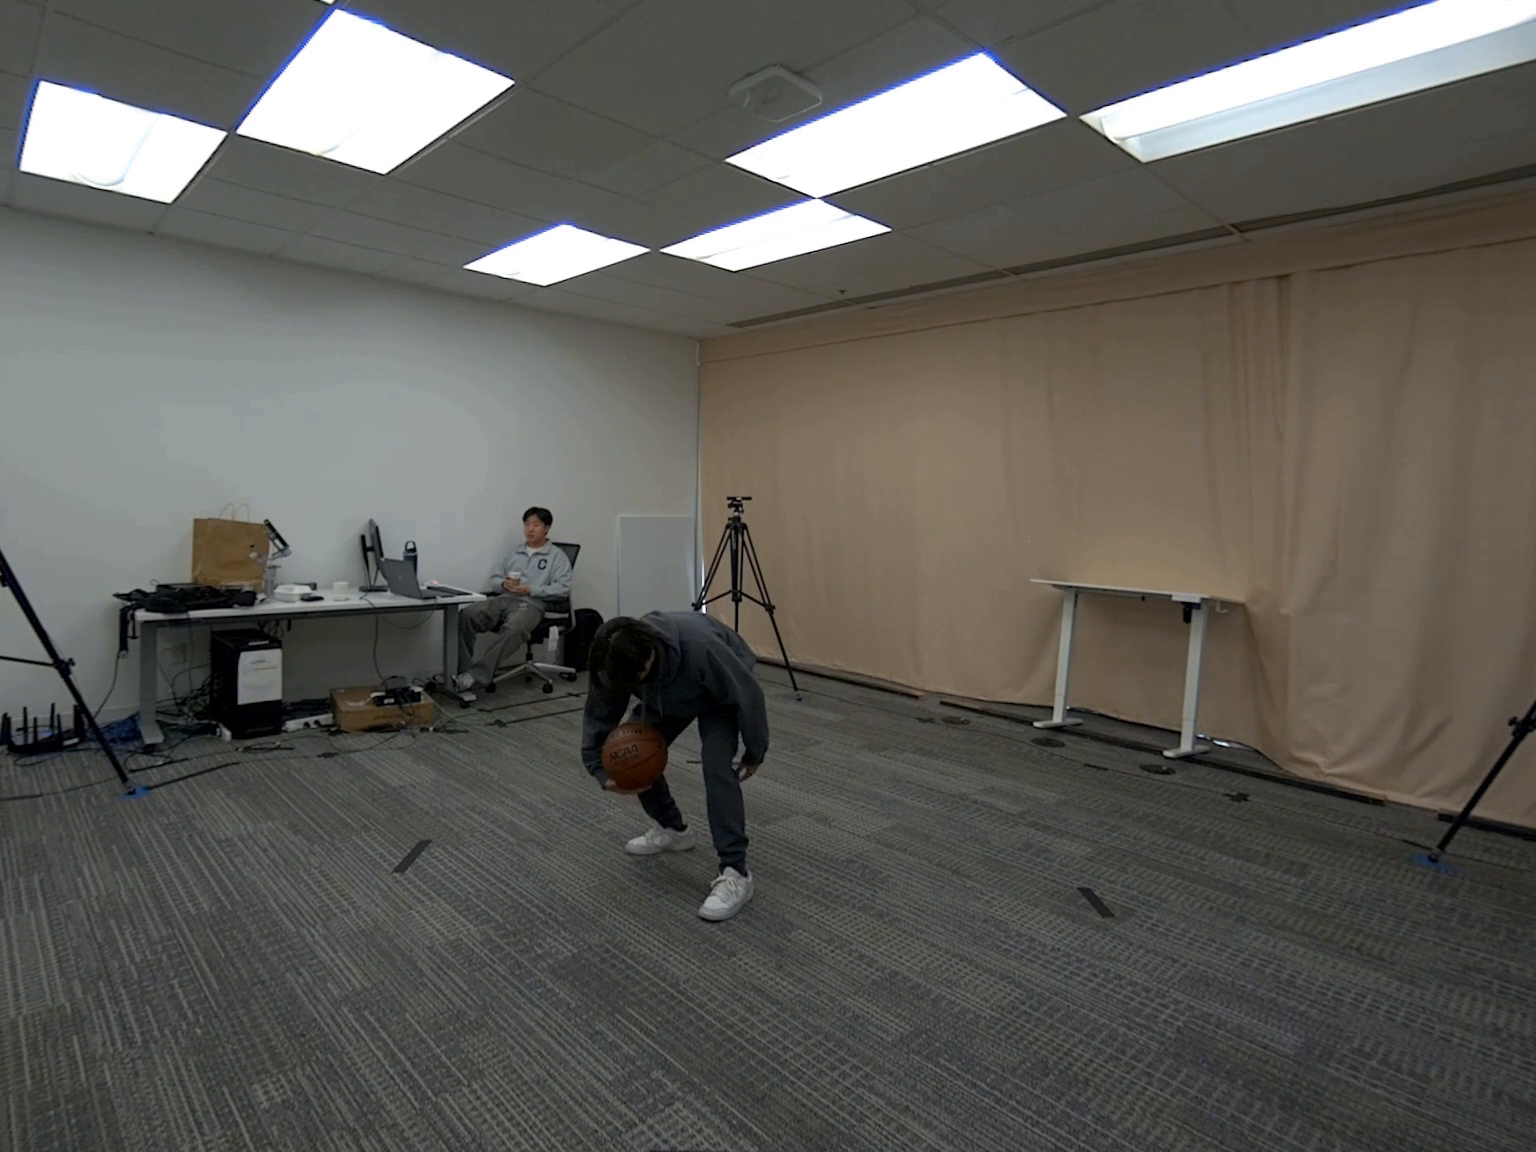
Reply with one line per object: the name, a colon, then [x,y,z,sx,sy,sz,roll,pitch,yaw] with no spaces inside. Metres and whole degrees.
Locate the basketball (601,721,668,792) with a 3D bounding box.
basketball: [-0.489,0.647,3.044,0.236,0.235,0.237,1,4,-1]
